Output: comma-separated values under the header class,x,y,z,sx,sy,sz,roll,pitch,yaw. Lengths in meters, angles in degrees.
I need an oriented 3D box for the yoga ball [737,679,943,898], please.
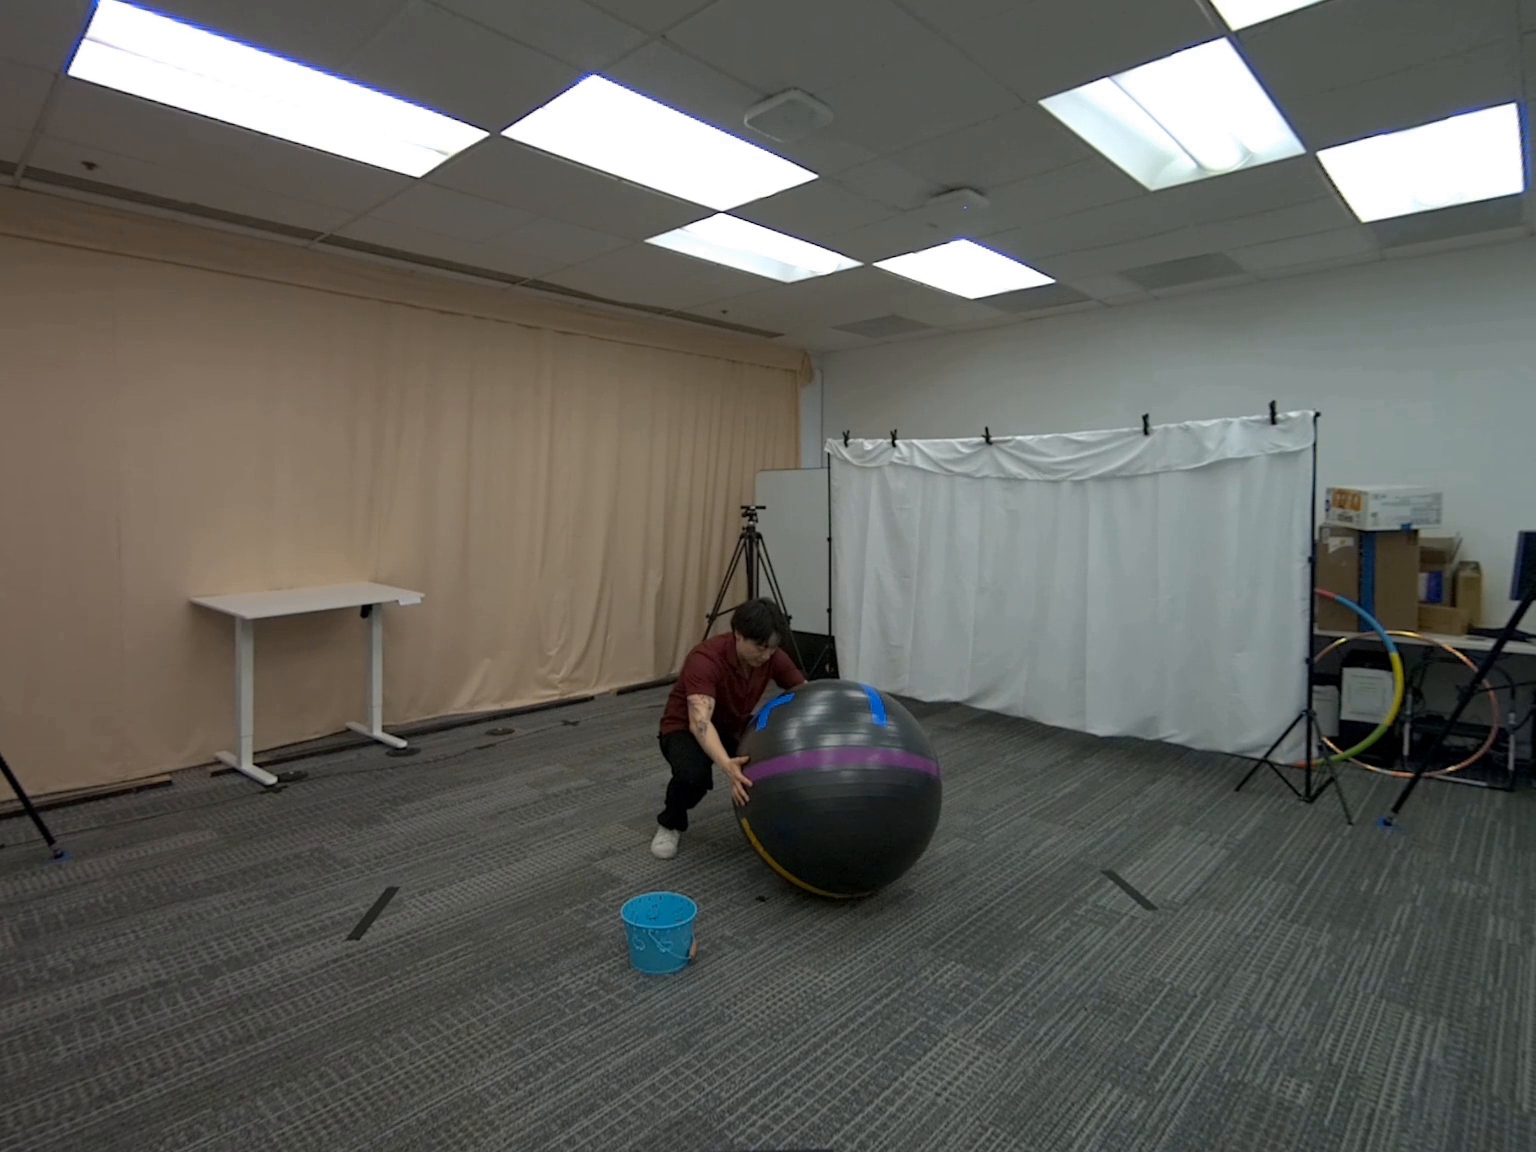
class,x,y,z,sx,sy,sz,roll,pitch,yaw
yoga ball,0.259,0.767,3.085,0.757,0.756,0.760,0,4,-2
